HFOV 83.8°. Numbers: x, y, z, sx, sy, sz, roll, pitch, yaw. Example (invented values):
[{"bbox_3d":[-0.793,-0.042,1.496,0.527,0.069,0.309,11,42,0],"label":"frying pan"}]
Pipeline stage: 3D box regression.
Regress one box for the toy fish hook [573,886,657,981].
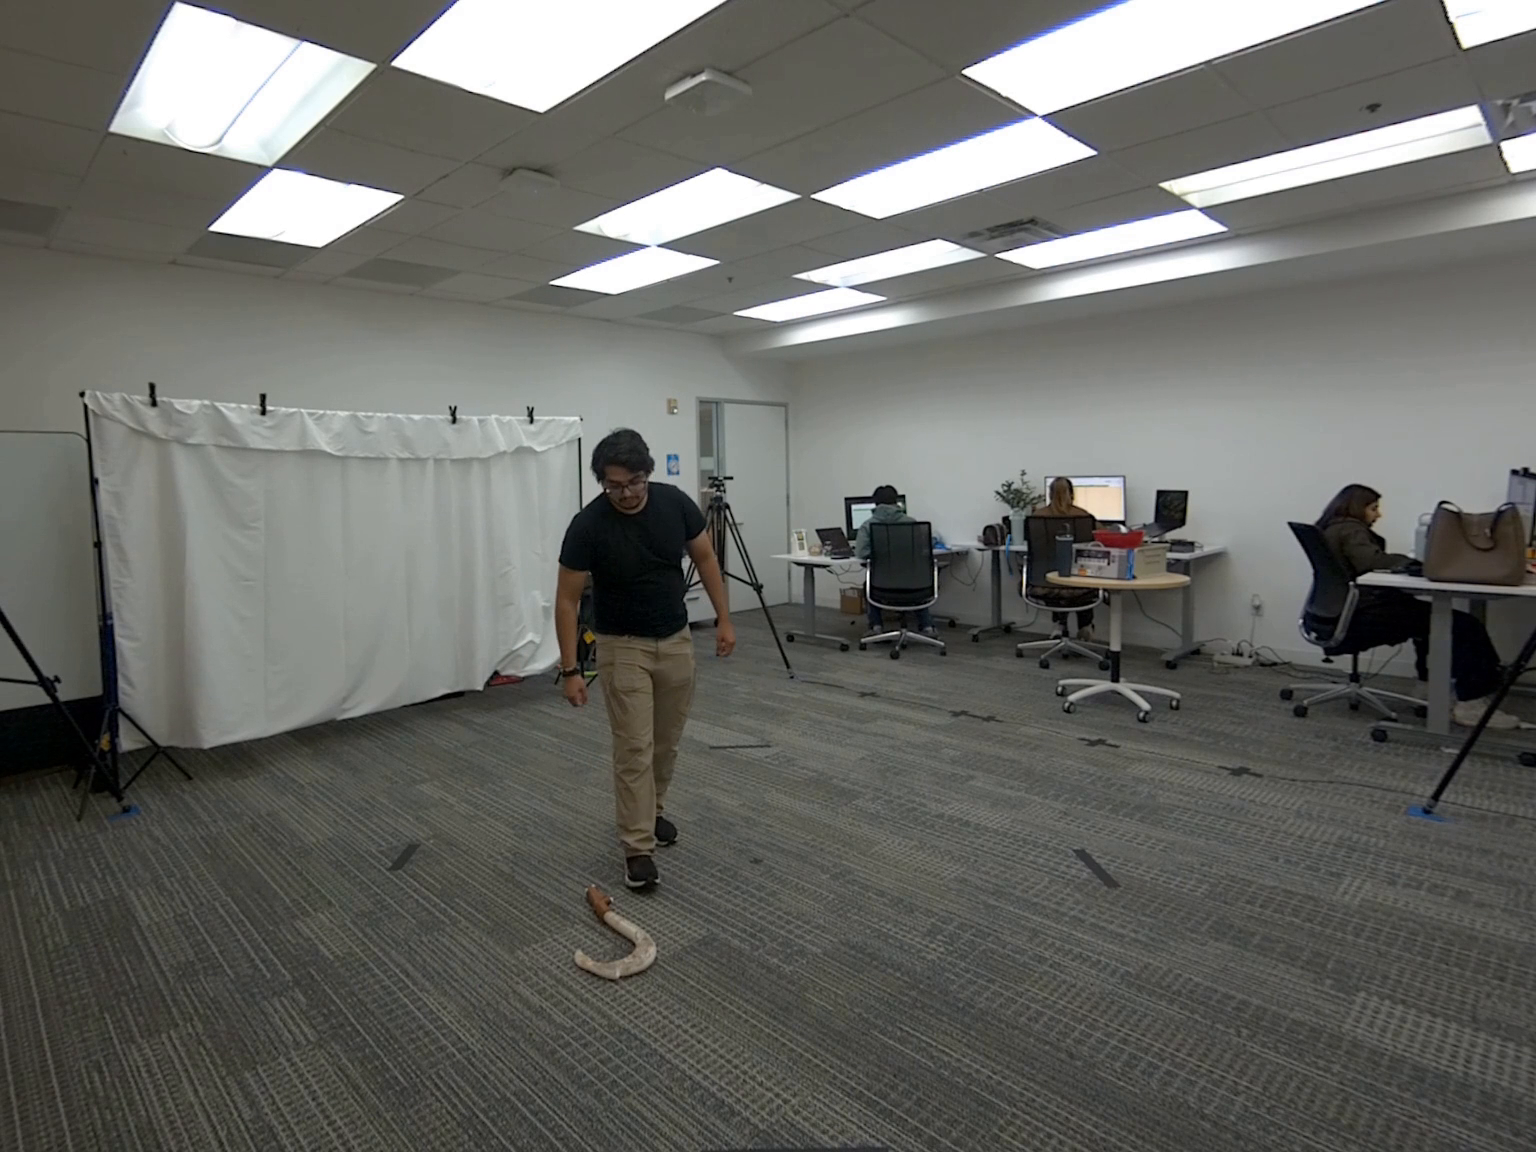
[{"bbox_3d":[-0.512,1.088,2.620,0.219,0.048,0.520,-5,7,-29],"label":"toy fish hook"}]
